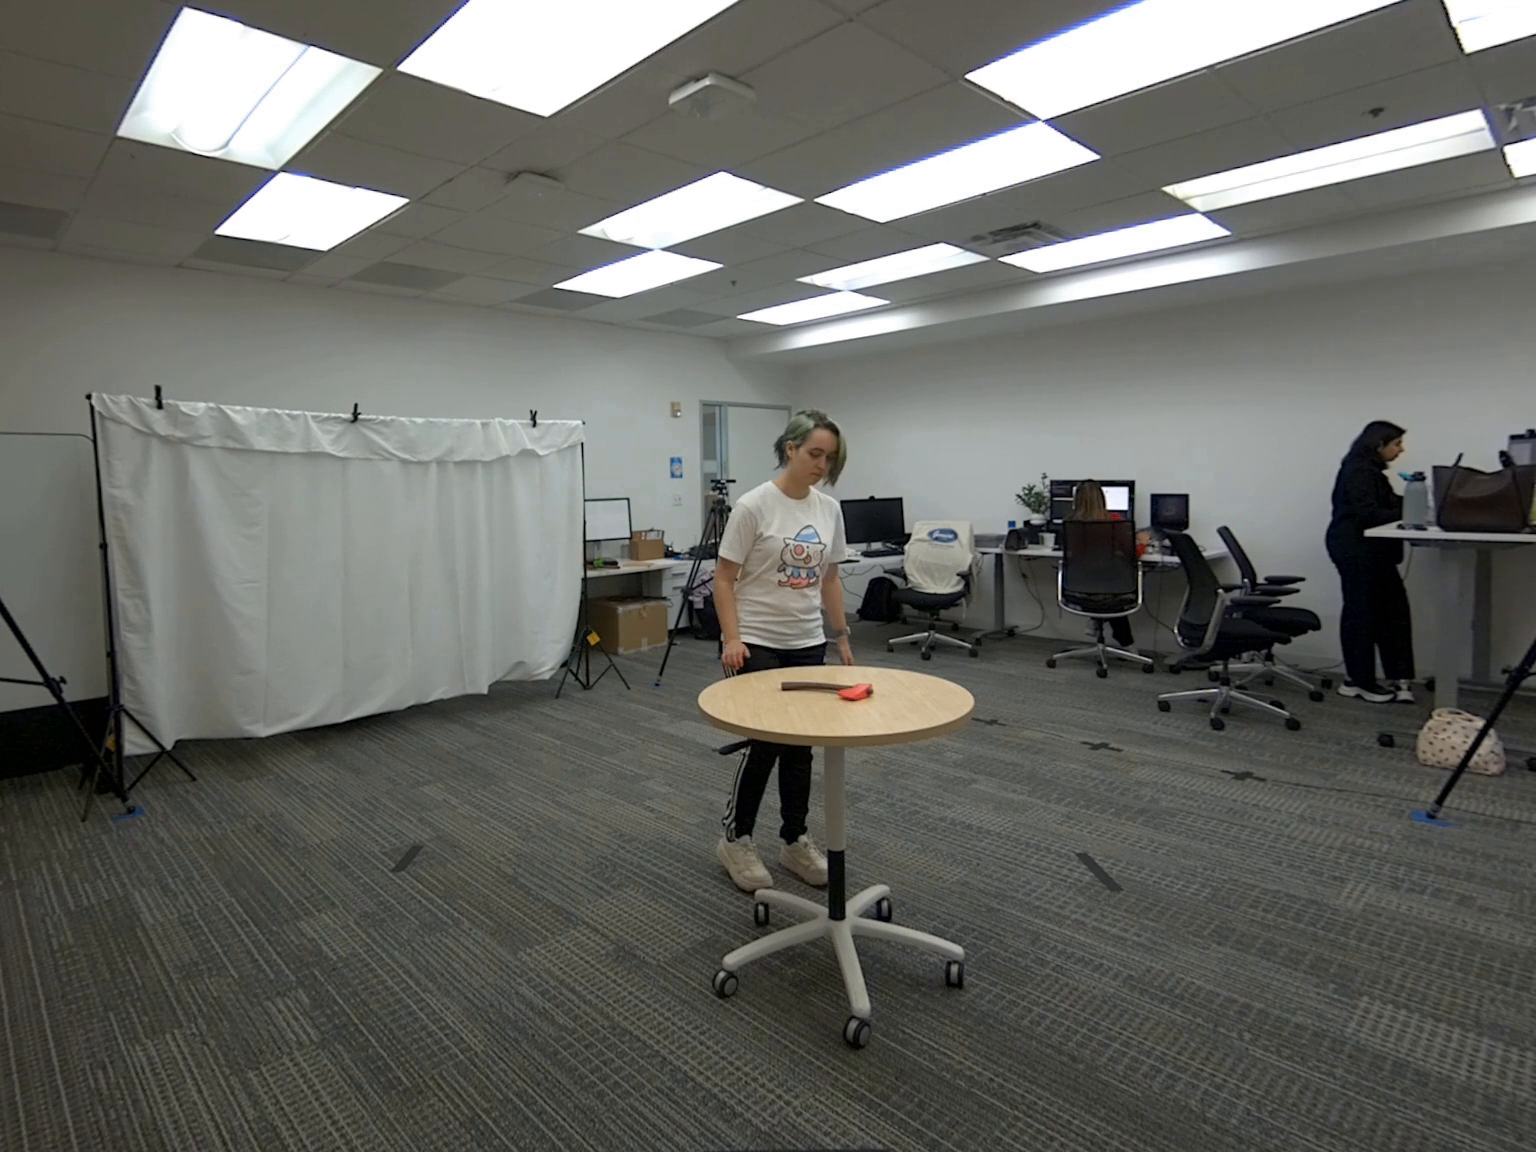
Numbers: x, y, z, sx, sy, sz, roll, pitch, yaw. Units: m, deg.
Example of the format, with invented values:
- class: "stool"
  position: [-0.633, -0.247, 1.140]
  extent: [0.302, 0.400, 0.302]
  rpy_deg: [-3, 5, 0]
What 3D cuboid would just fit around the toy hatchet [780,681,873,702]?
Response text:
- class: "toy hatchet"
  position: [0.159, 0.327, 2.419]
  extent: [0.273, 0.029, 0.131]
  rpy_deg: [-2, 12, 13]
